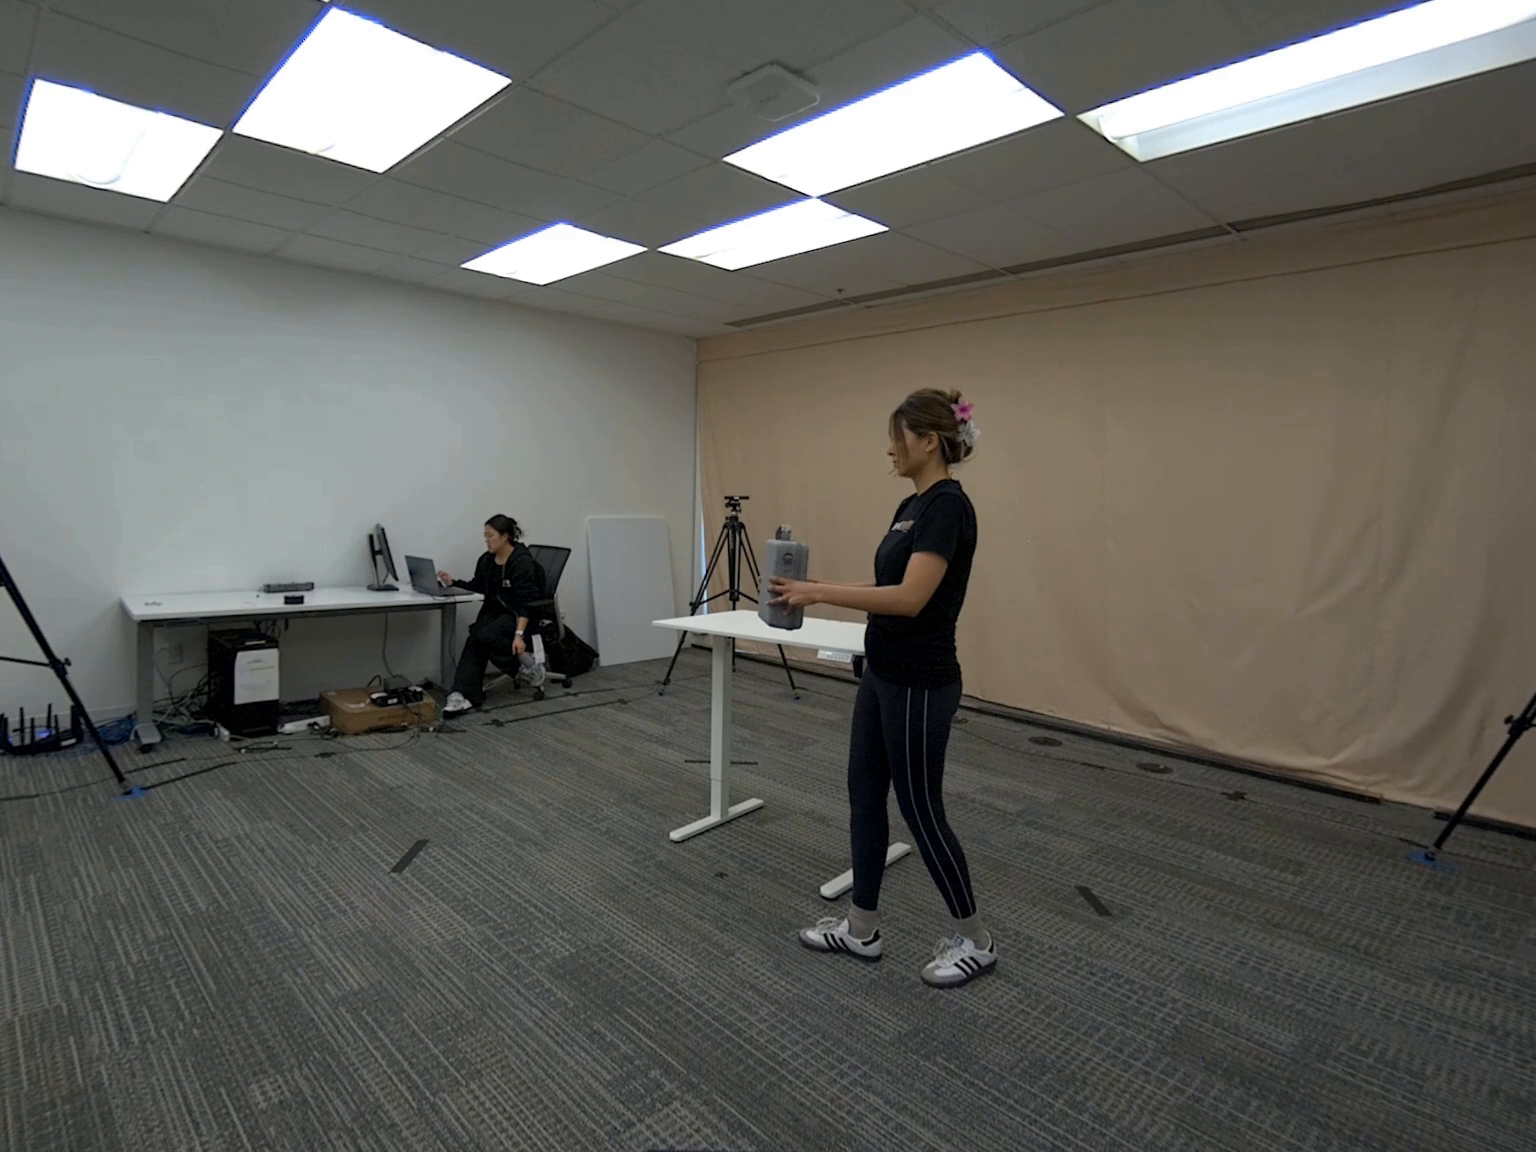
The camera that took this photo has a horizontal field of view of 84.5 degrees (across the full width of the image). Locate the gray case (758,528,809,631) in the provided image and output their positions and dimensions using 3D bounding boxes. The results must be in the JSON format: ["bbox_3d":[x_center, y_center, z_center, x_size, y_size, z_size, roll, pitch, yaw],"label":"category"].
[{"bbox_3d":[0.049,0.024,2.424,0.103,0.261,0.258,4,-1,-9],"label":"gray case"}]
